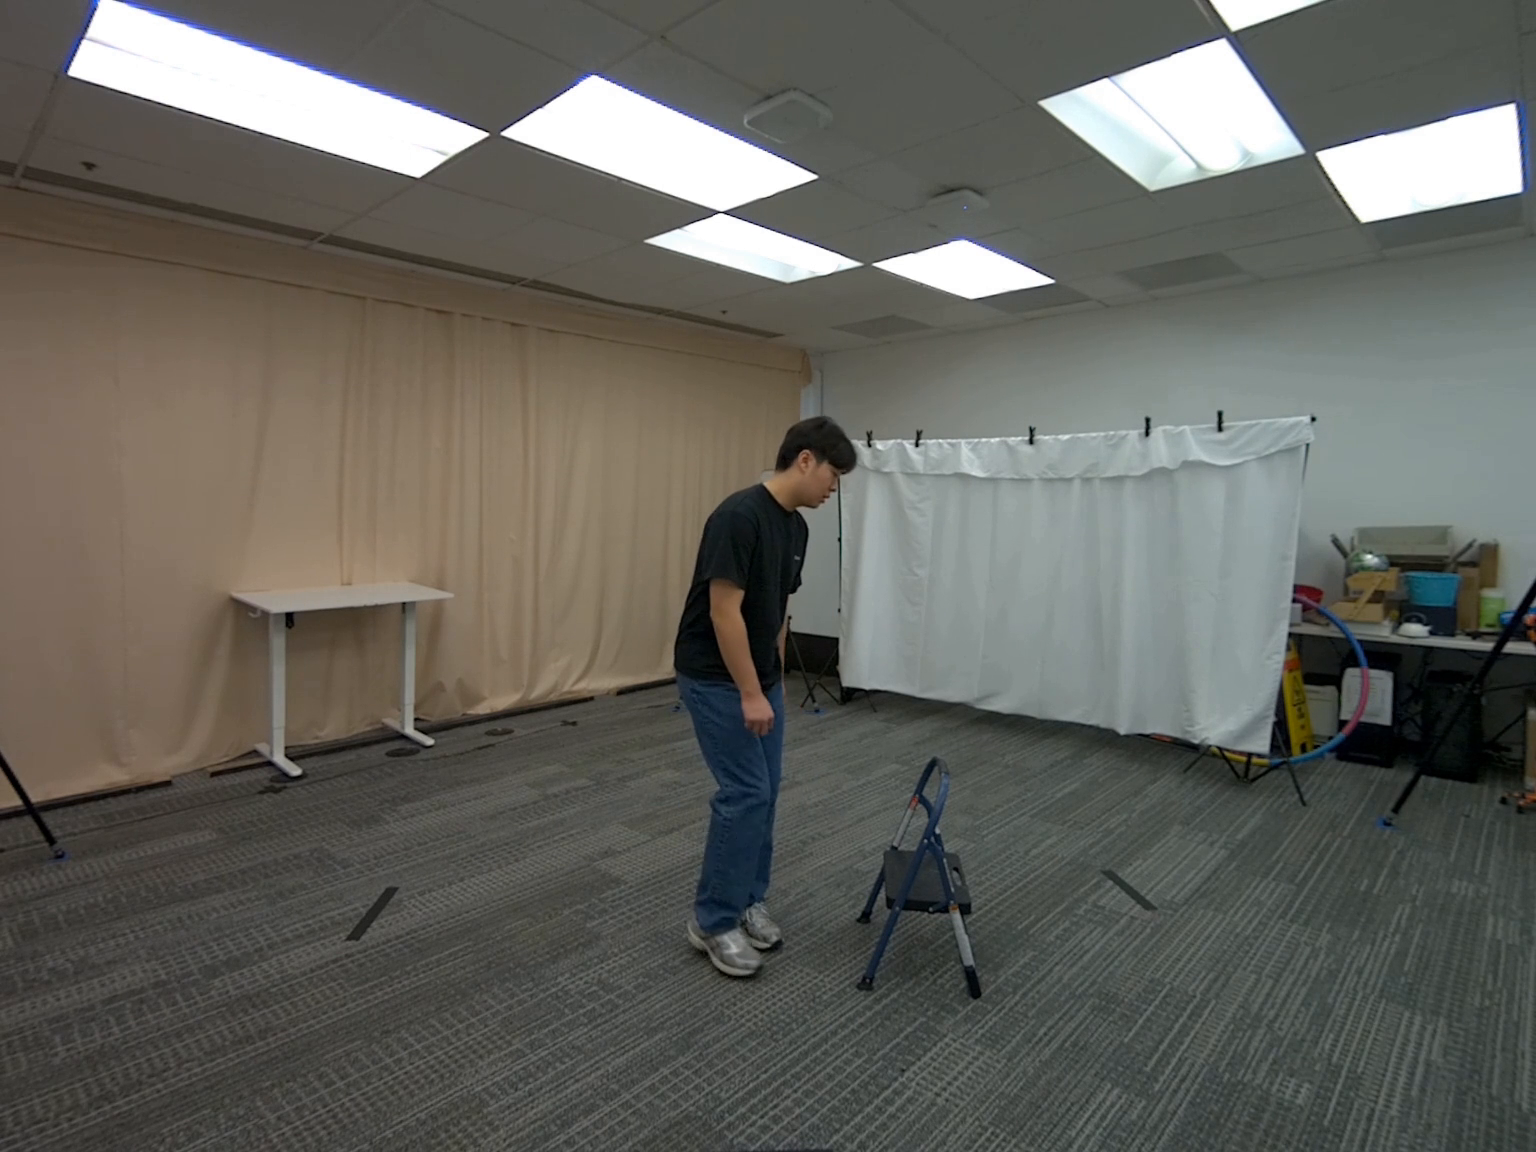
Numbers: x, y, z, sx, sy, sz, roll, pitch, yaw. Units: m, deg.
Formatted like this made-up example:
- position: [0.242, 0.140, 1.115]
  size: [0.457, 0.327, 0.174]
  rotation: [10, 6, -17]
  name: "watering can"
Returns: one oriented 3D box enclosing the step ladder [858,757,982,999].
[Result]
- position: [0.463, 0.876, 2.580]
  size: [0.352, 0.605, 0.428]
  rotation: [1, 4, 7]
  name: "step ladder"
